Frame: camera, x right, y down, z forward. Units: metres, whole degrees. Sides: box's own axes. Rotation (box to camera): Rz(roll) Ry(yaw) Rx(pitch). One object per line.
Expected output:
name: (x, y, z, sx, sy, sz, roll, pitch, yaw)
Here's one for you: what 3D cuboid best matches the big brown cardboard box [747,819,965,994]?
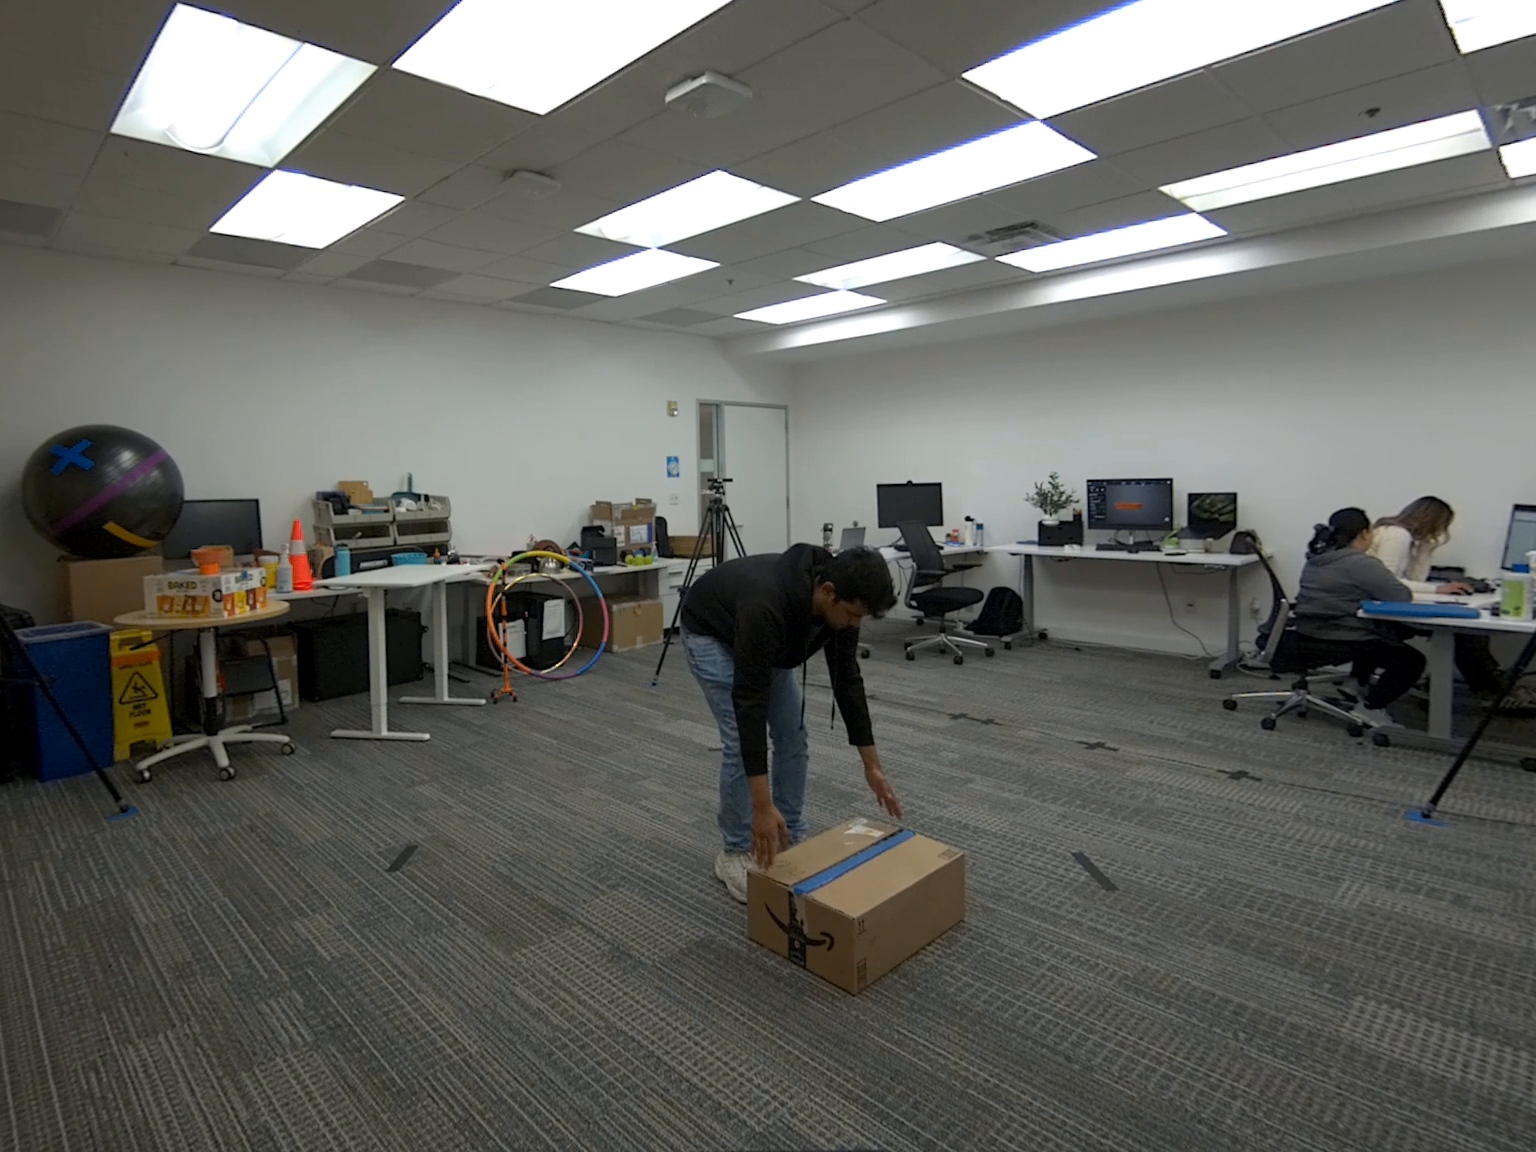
big brown cardboard box: (0.281, 0.973, 2.638, 0.574, 0.232, 0.430, -8, 9, -44)
